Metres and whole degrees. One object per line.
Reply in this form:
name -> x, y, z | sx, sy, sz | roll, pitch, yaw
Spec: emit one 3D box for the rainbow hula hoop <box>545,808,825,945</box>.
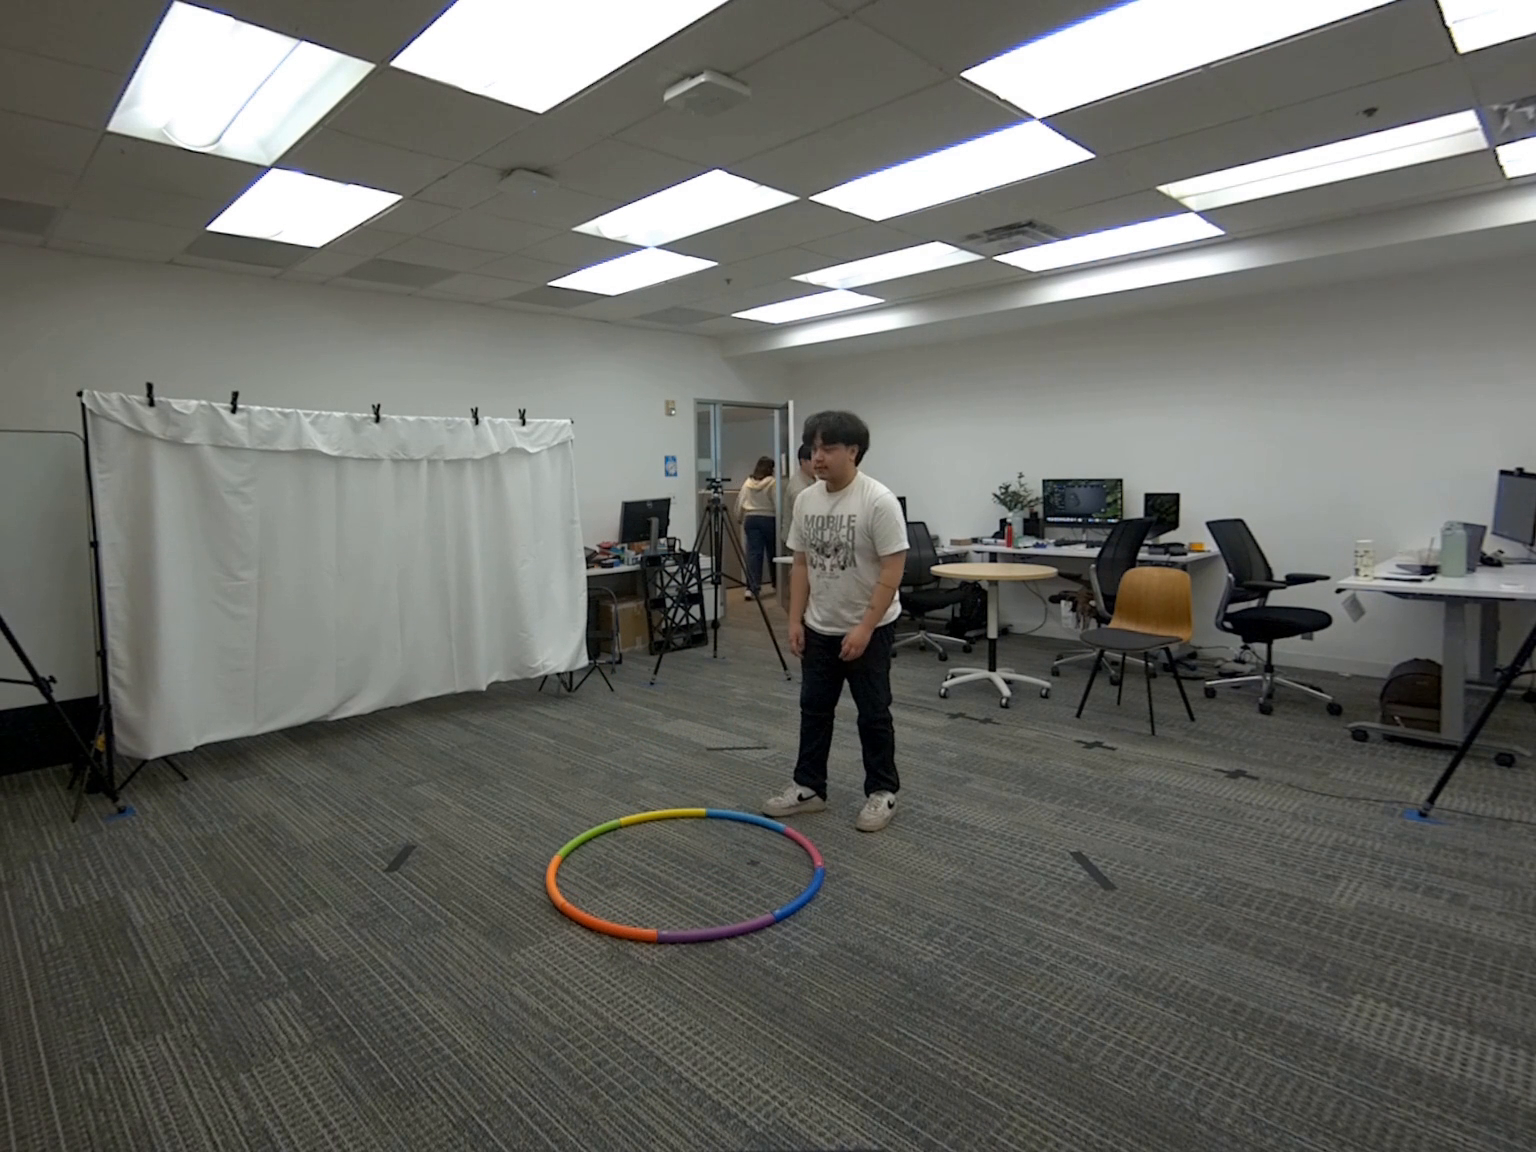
rainbow hula hoop -> -0.294, 1.026, 3.060 | 0.985, 0.051, 0.991 | -1, 6, -2
